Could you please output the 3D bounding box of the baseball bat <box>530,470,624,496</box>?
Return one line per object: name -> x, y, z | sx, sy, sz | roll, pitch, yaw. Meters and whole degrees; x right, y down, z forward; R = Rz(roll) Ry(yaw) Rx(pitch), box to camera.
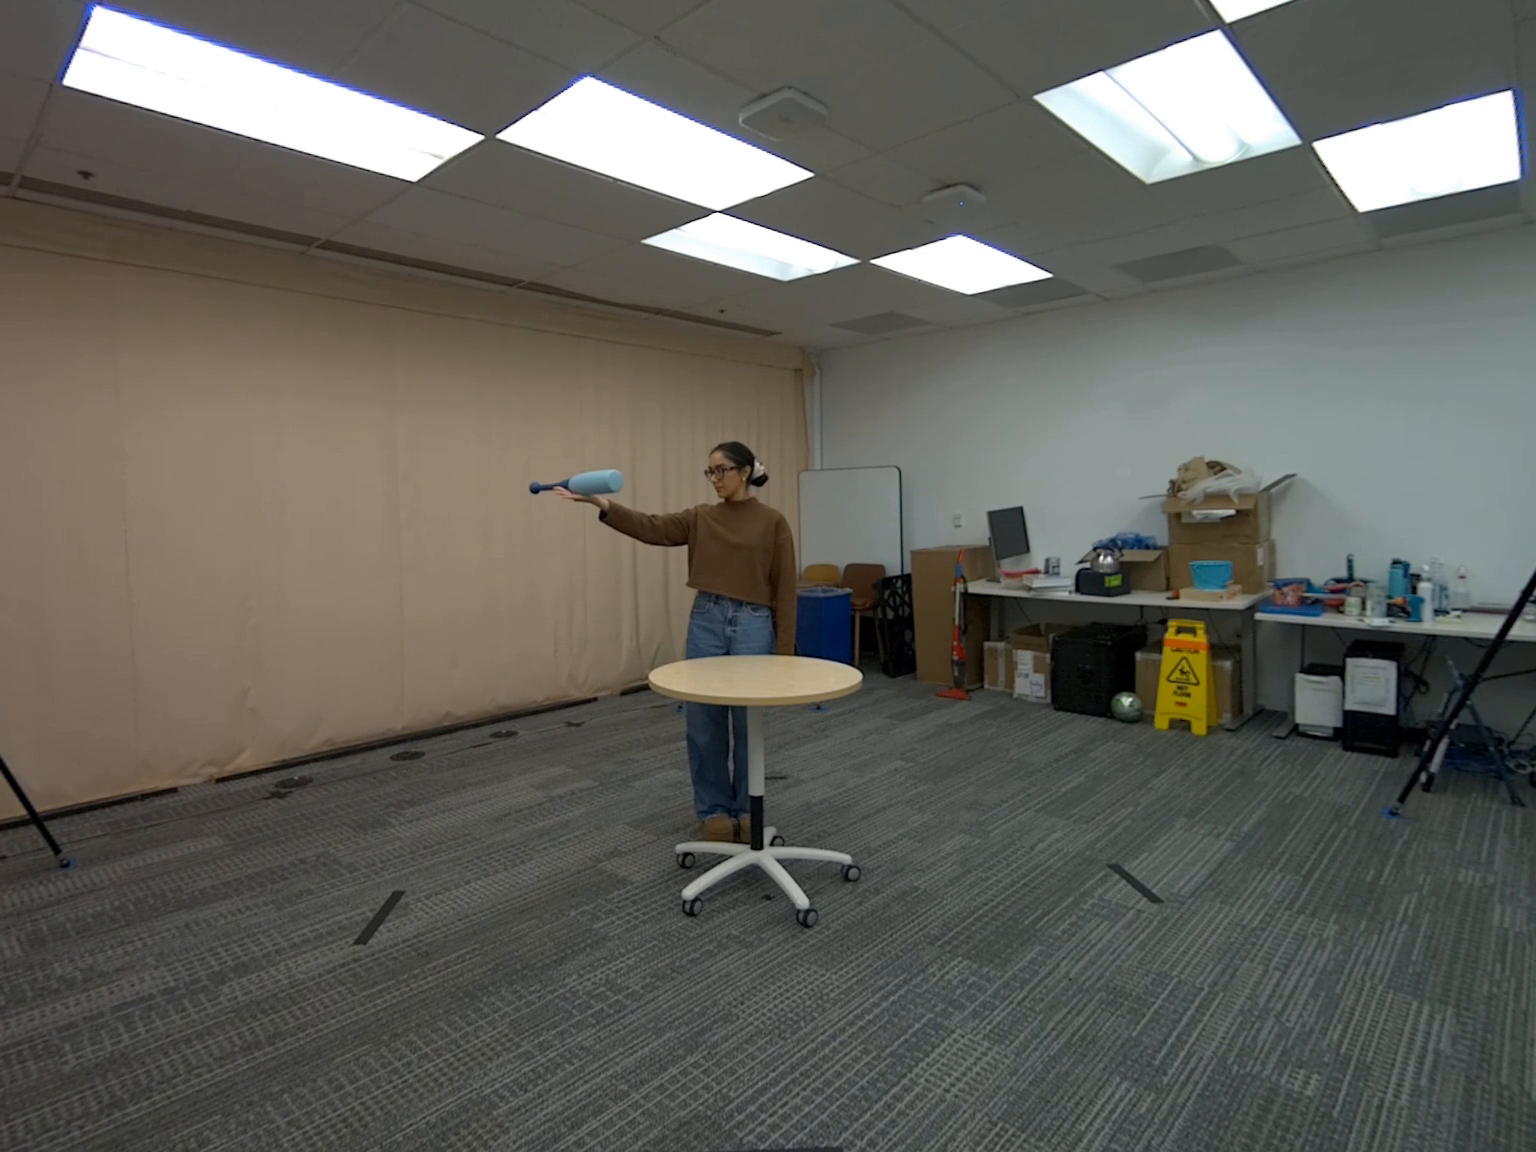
baseball bat -> -0.767, -0.356, 3.308 | 0.560, 0.089, 0.086 | 1, 4, 41
